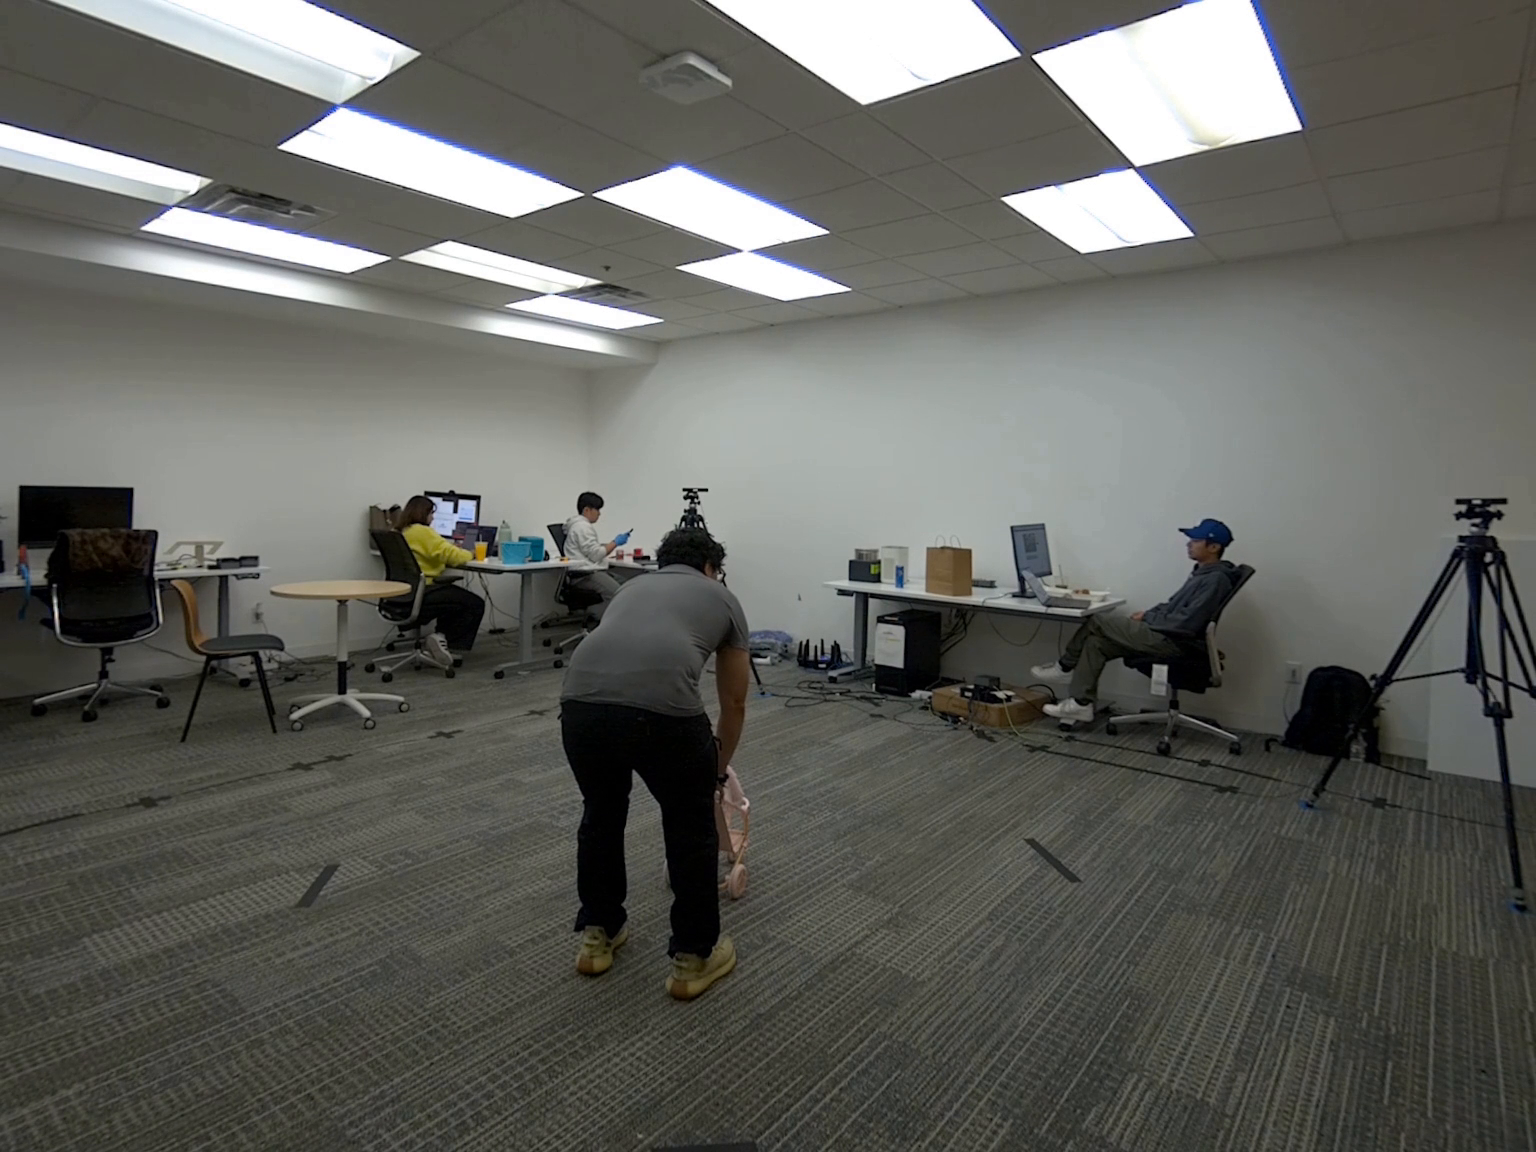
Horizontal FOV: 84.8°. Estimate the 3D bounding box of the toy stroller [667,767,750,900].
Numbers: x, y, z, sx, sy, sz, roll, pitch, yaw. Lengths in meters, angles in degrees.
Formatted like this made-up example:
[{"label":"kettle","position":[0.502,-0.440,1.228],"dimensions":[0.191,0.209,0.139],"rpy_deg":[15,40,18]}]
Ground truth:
[{"label":"toy stroller","position":[-0.199,0.860,2.992],"dimensions":[0.289,0.525,0.339],"rpy_deg":[3,21,25]}]
